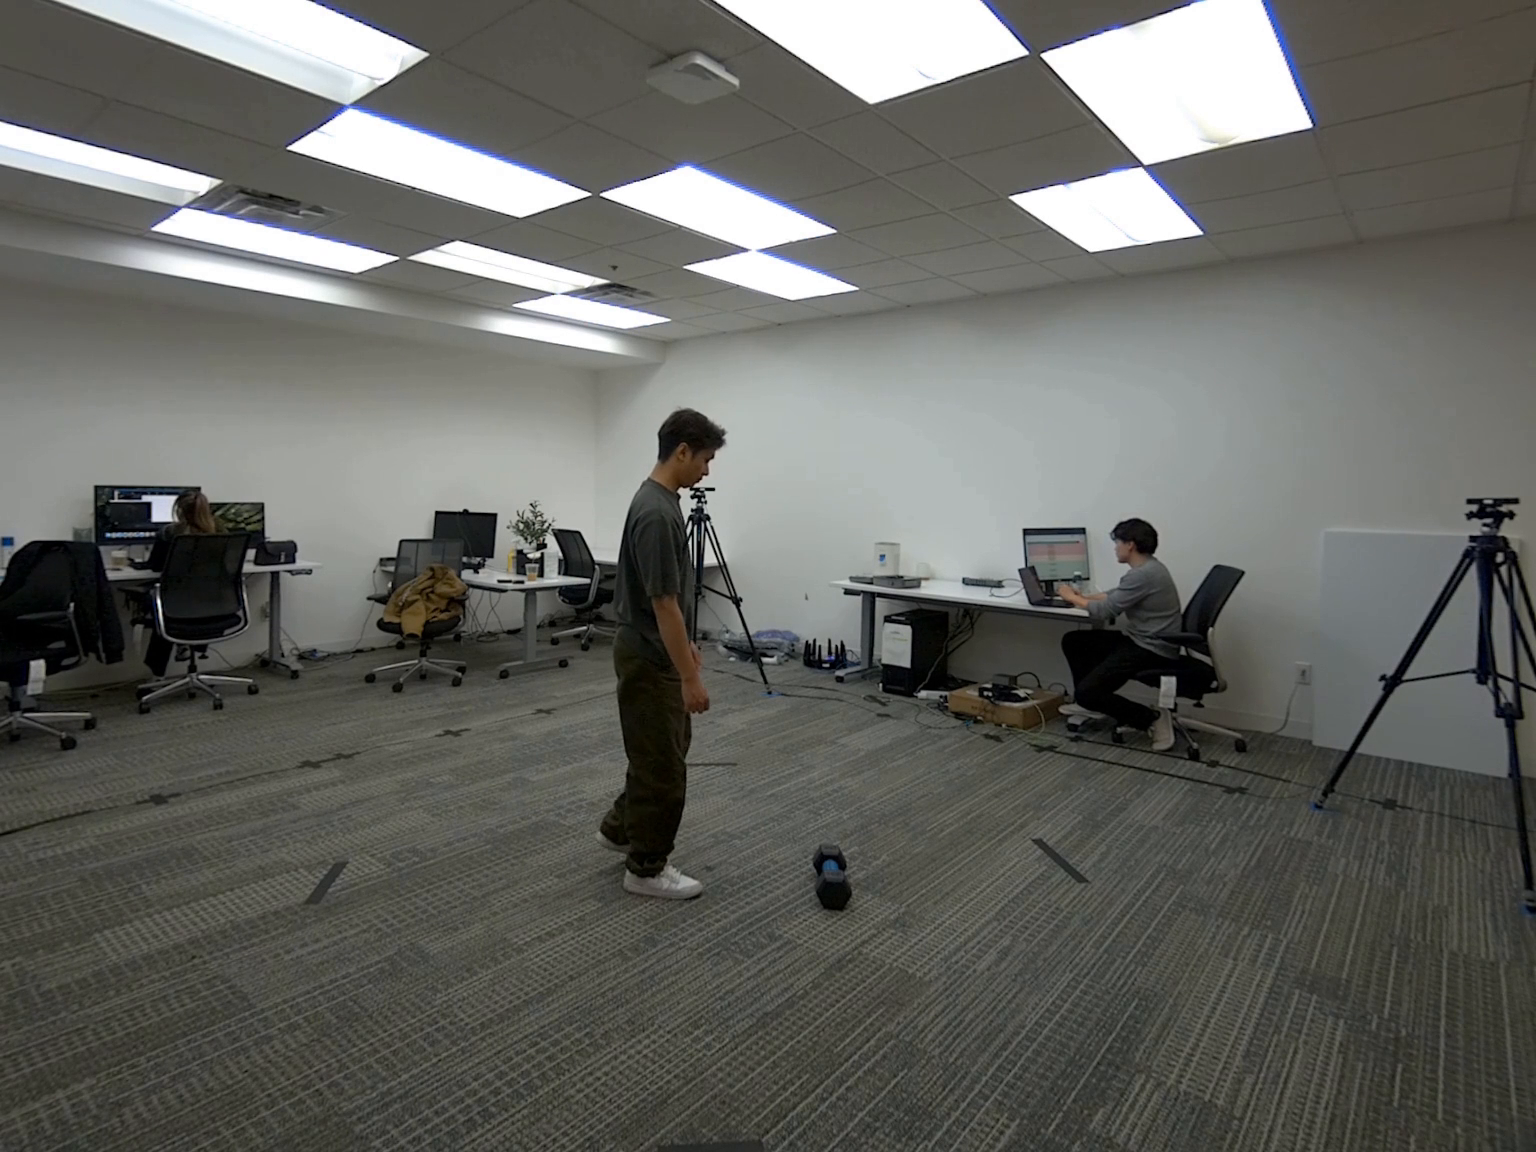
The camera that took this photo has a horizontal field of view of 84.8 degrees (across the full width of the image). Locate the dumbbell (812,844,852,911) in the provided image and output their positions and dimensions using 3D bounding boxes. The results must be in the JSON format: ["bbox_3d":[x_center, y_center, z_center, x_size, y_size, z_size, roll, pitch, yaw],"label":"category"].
[{"bbox_3d":[0.216,1.041,2.958,0.108,0.123,0.294,31,4,-3],"label":"dumbbell"}]
